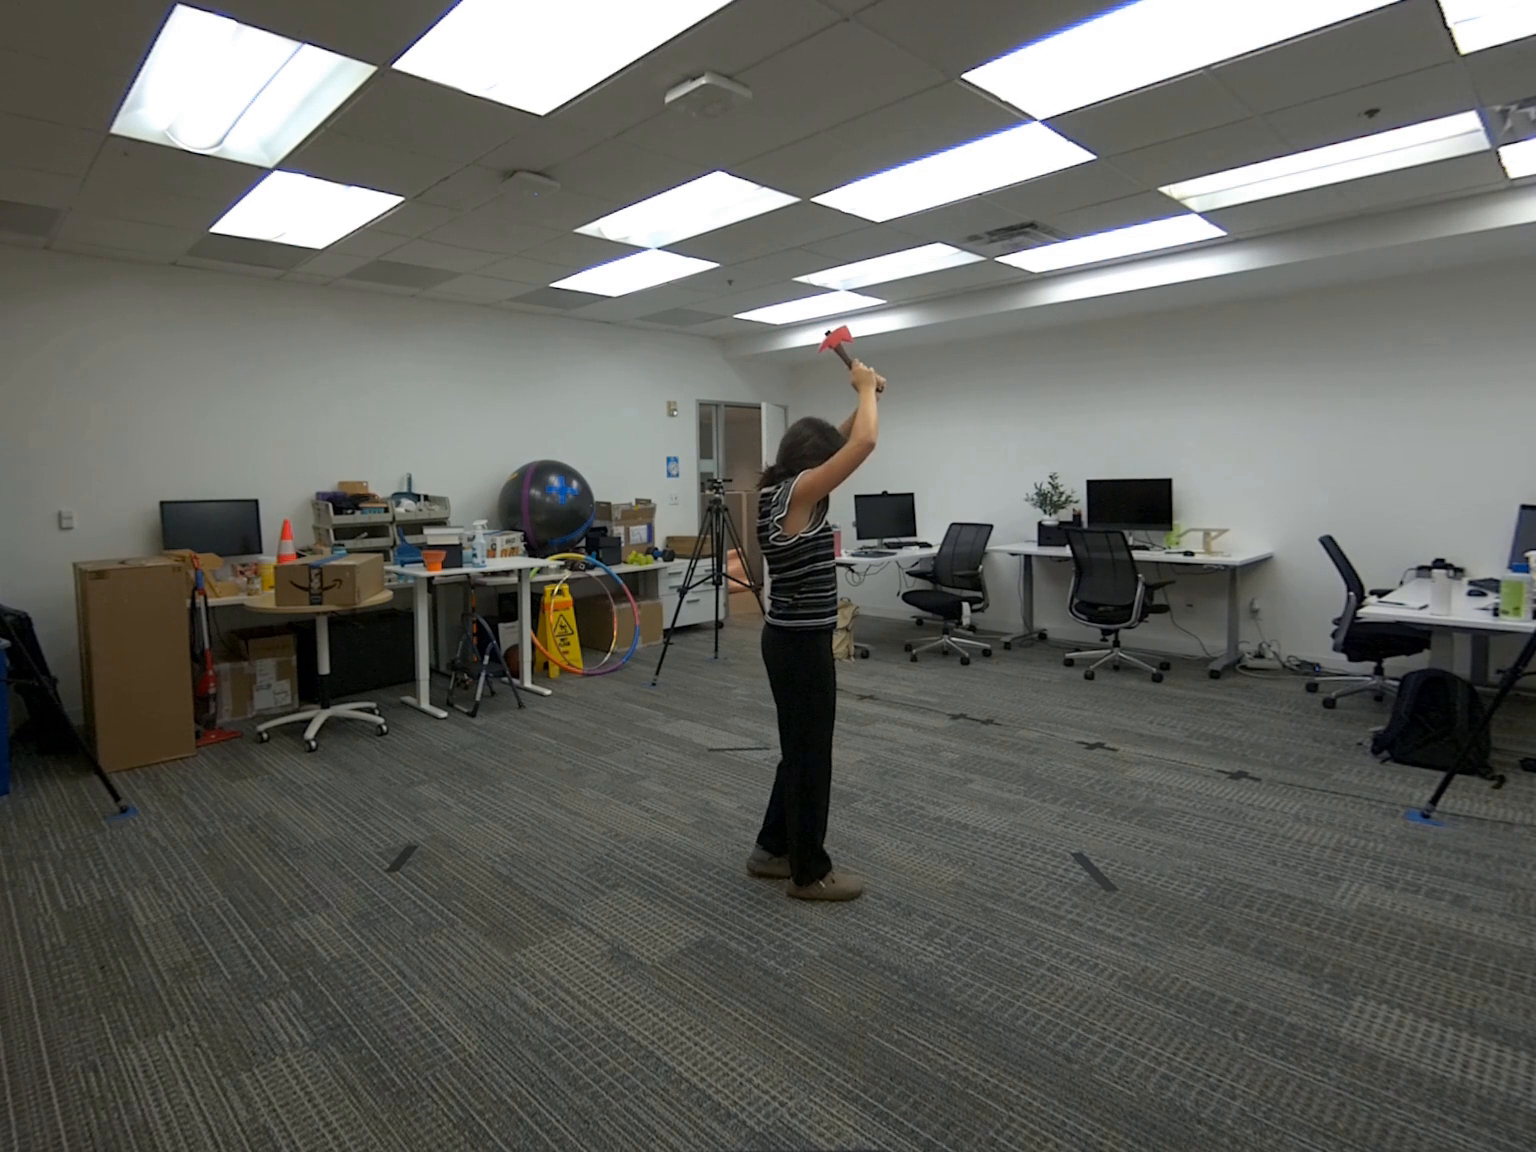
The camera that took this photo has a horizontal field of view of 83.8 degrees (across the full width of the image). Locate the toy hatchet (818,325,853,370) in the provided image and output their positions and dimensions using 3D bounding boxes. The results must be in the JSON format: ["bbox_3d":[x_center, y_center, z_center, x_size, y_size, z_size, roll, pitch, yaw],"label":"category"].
[{"bbox_3d":[0.297,-0.719,2.807,0.263,0.131,0.030,29,-8,-20],"label":"toy hatchet"}]
